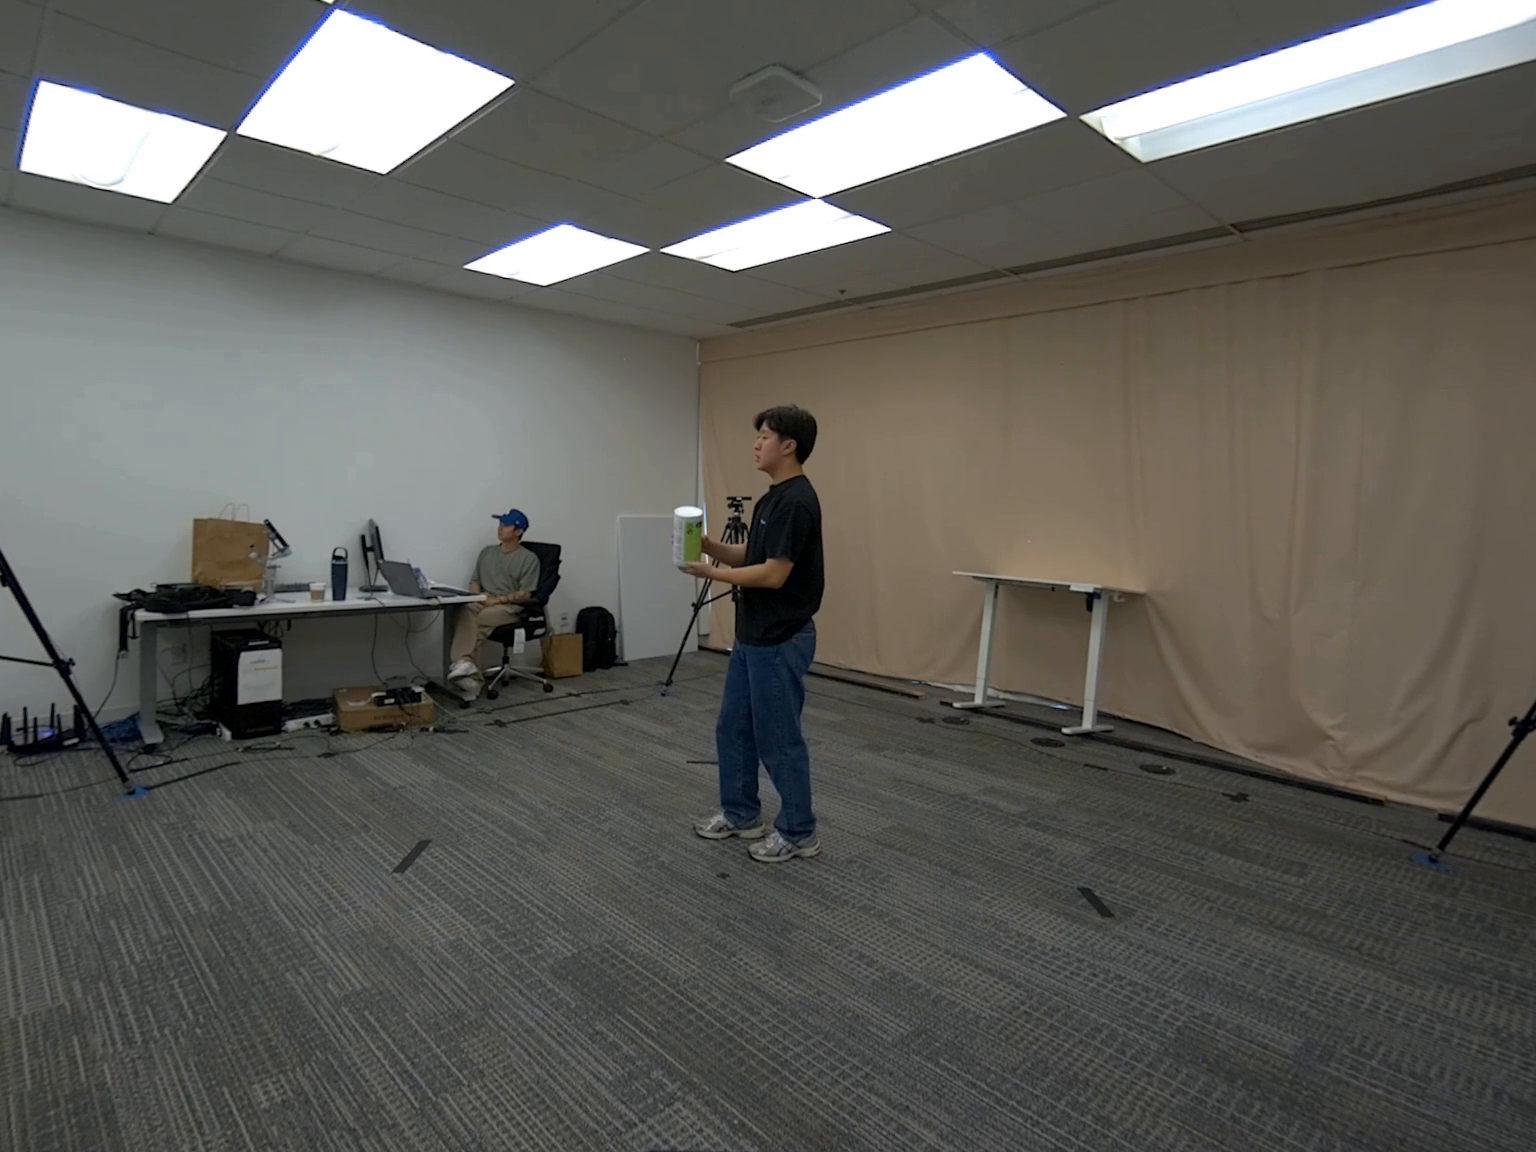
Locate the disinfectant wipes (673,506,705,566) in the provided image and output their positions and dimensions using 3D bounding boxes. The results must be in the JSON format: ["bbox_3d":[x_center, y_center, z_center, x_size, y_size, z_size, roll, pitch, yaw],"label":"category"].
[{"bbox_3d":[-0.313,-0.152,3.216,0.117,0.215,0.119,4,18,-3],"label":"disinfectant wipes"}]
